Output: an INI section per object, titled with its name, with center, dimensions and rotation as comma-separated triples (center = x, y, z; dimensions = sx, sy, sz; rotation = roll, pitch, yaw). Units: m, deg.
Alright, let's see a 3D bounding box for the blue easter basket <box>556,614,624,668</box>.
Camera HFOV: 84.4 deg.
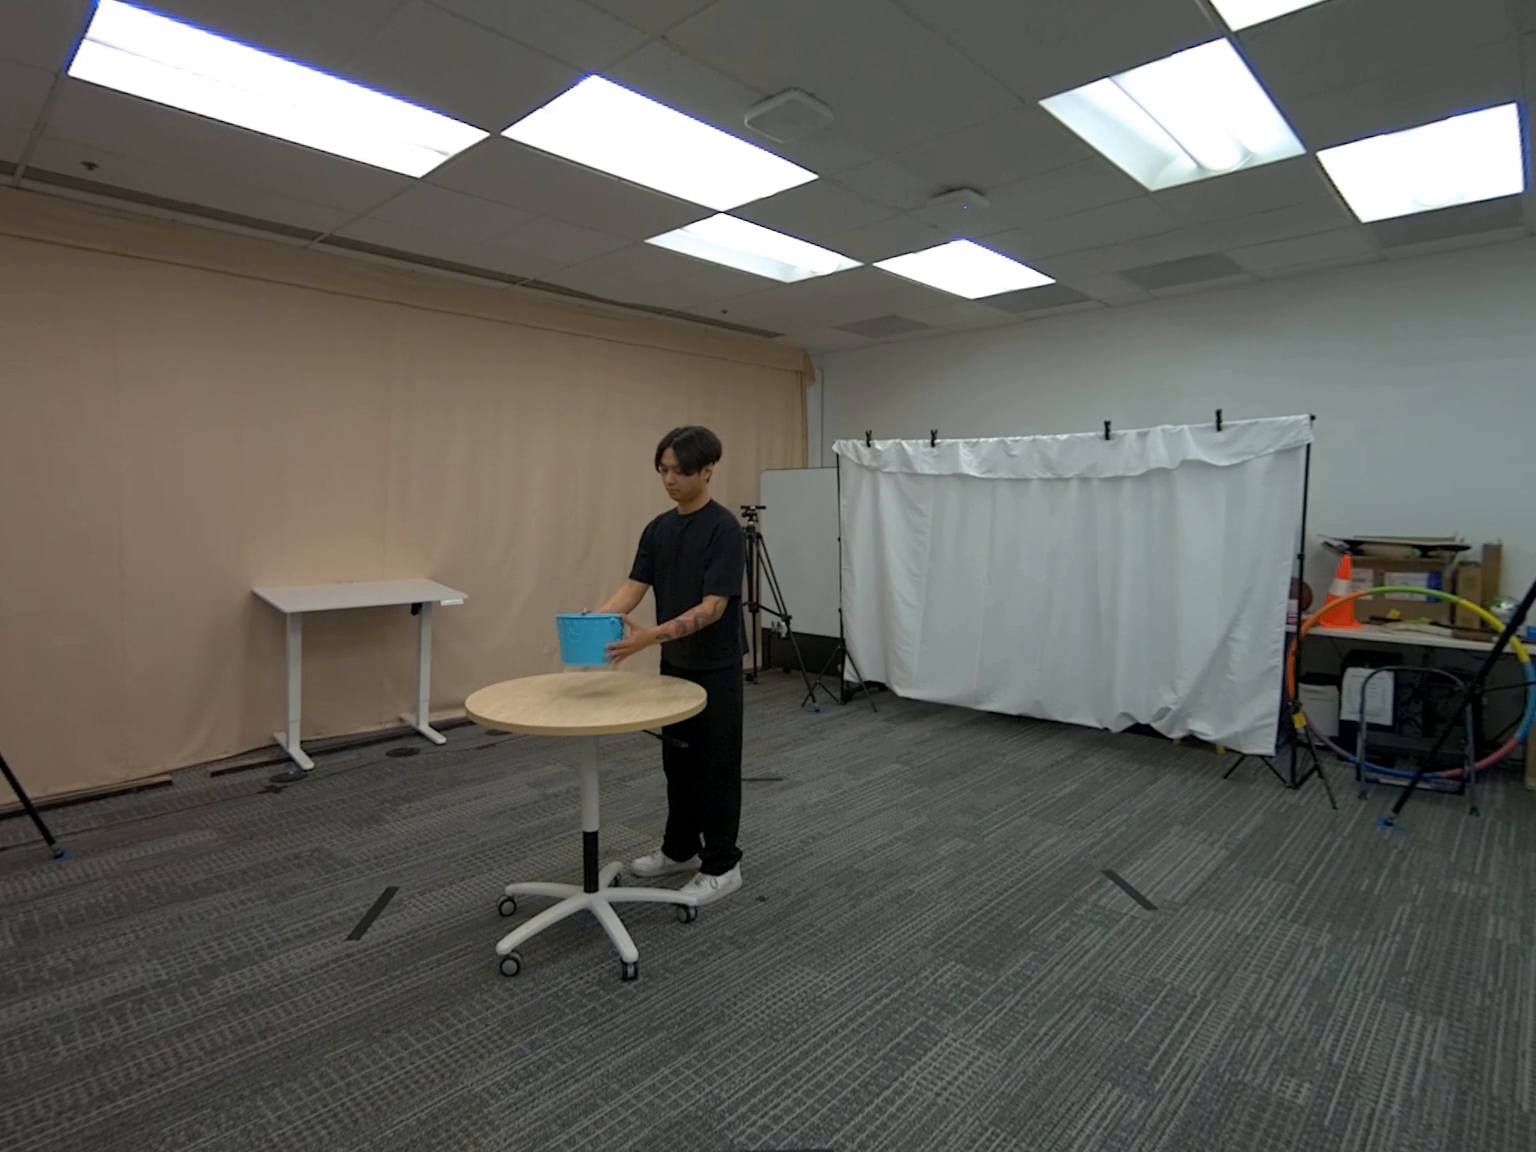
[blue easter basket]
center = -0.558, 0.208, 2.692
dimensions = 0.243, 0.156, 0.244
rotation = 1, -1, -2
